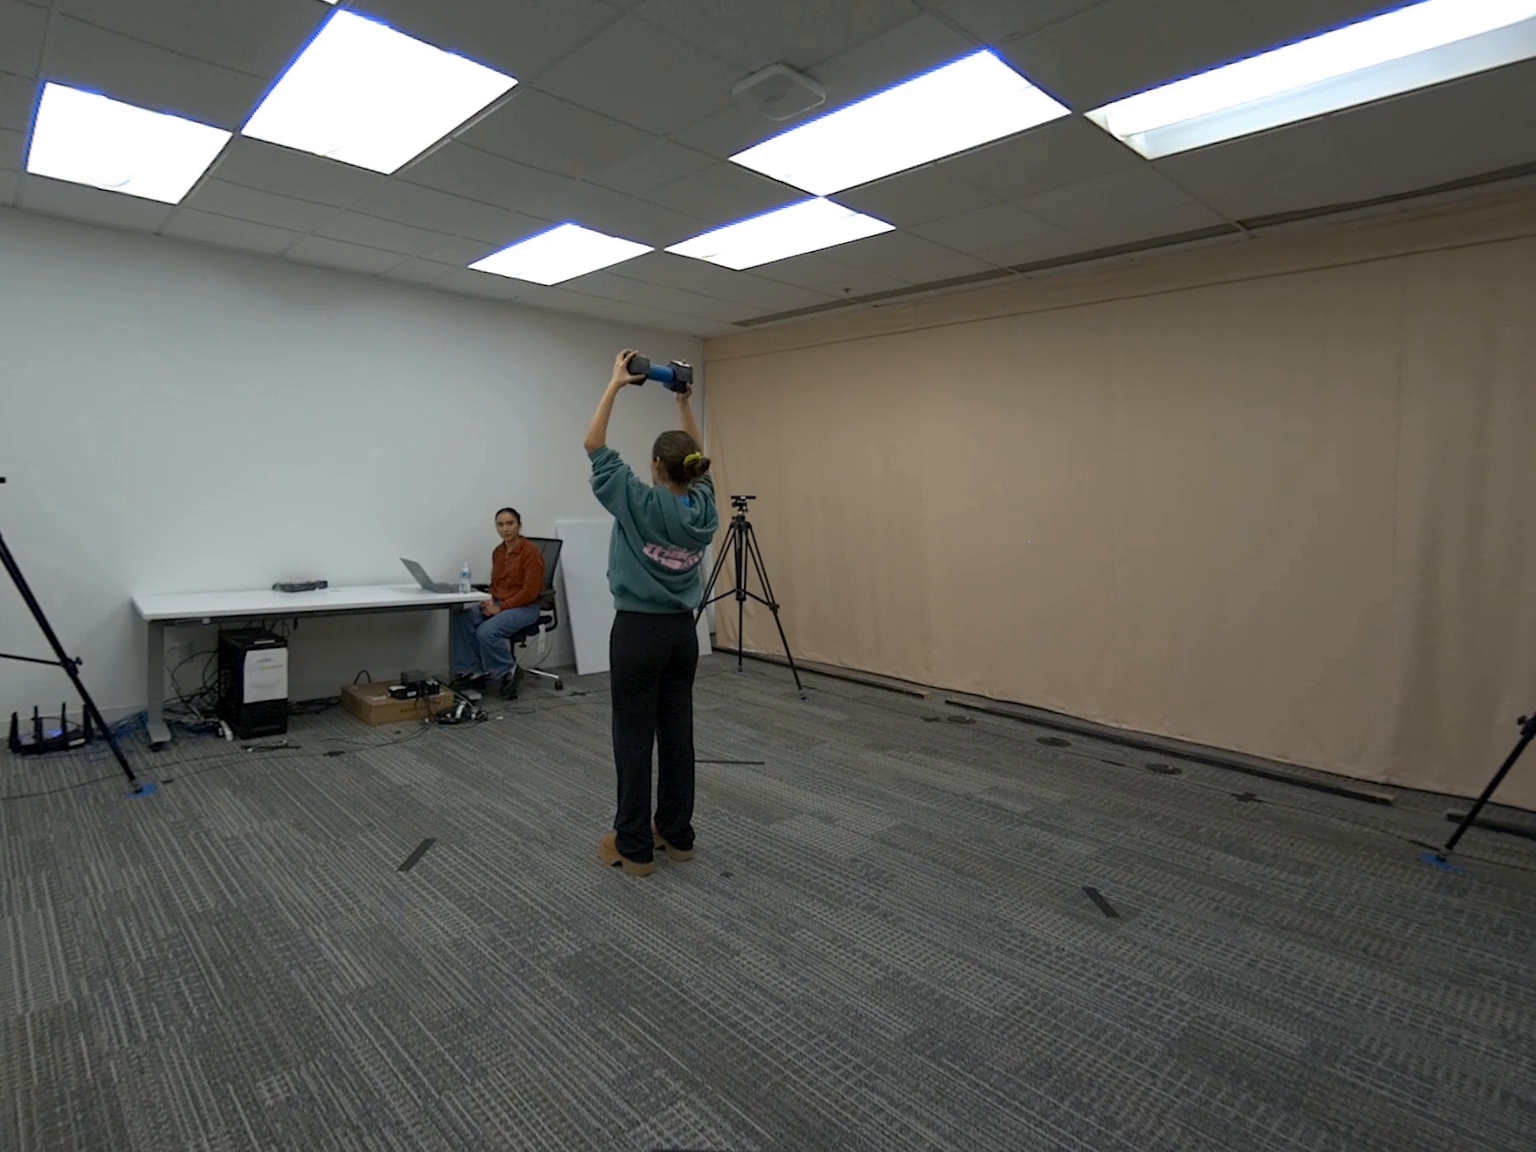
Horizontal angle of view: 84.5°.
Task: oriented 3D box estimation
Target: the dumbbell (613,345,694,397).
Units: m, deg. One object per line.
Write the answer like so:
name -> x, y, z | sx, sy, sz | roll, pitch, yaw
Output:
dumbbell -> -0.428, -0.765, 3.171 | 0.111, 0.123, 0.286 | -5, -3, 44
